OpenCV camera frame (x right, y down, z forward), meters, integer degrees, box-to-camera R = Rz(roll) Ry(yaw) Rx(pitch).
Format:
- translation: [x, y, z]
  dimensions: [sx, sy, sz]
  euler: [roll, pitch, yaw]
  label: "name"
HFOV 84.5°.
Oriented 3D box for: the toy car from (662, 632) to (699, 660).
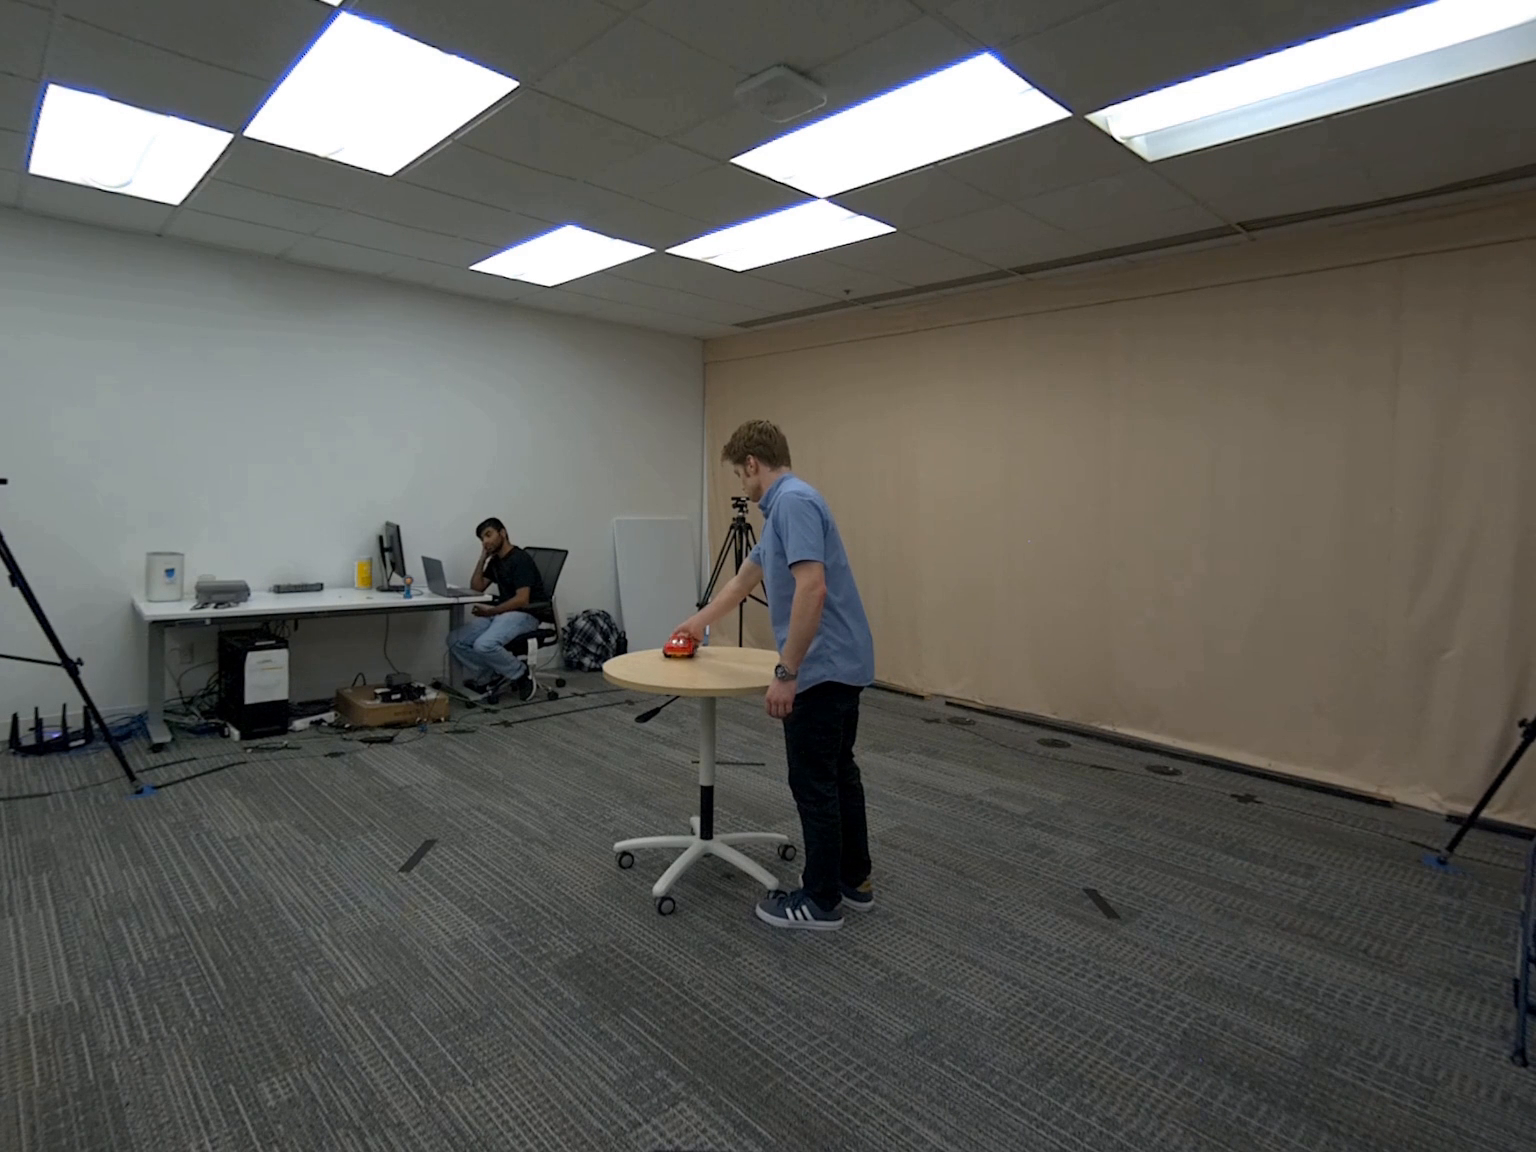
- translation: [-0.348, 0.277, 3.250]
  dimensions: [0.130, 0.083, 0.253]
  euler: [0, -5, 1]
  label: "toy car"
